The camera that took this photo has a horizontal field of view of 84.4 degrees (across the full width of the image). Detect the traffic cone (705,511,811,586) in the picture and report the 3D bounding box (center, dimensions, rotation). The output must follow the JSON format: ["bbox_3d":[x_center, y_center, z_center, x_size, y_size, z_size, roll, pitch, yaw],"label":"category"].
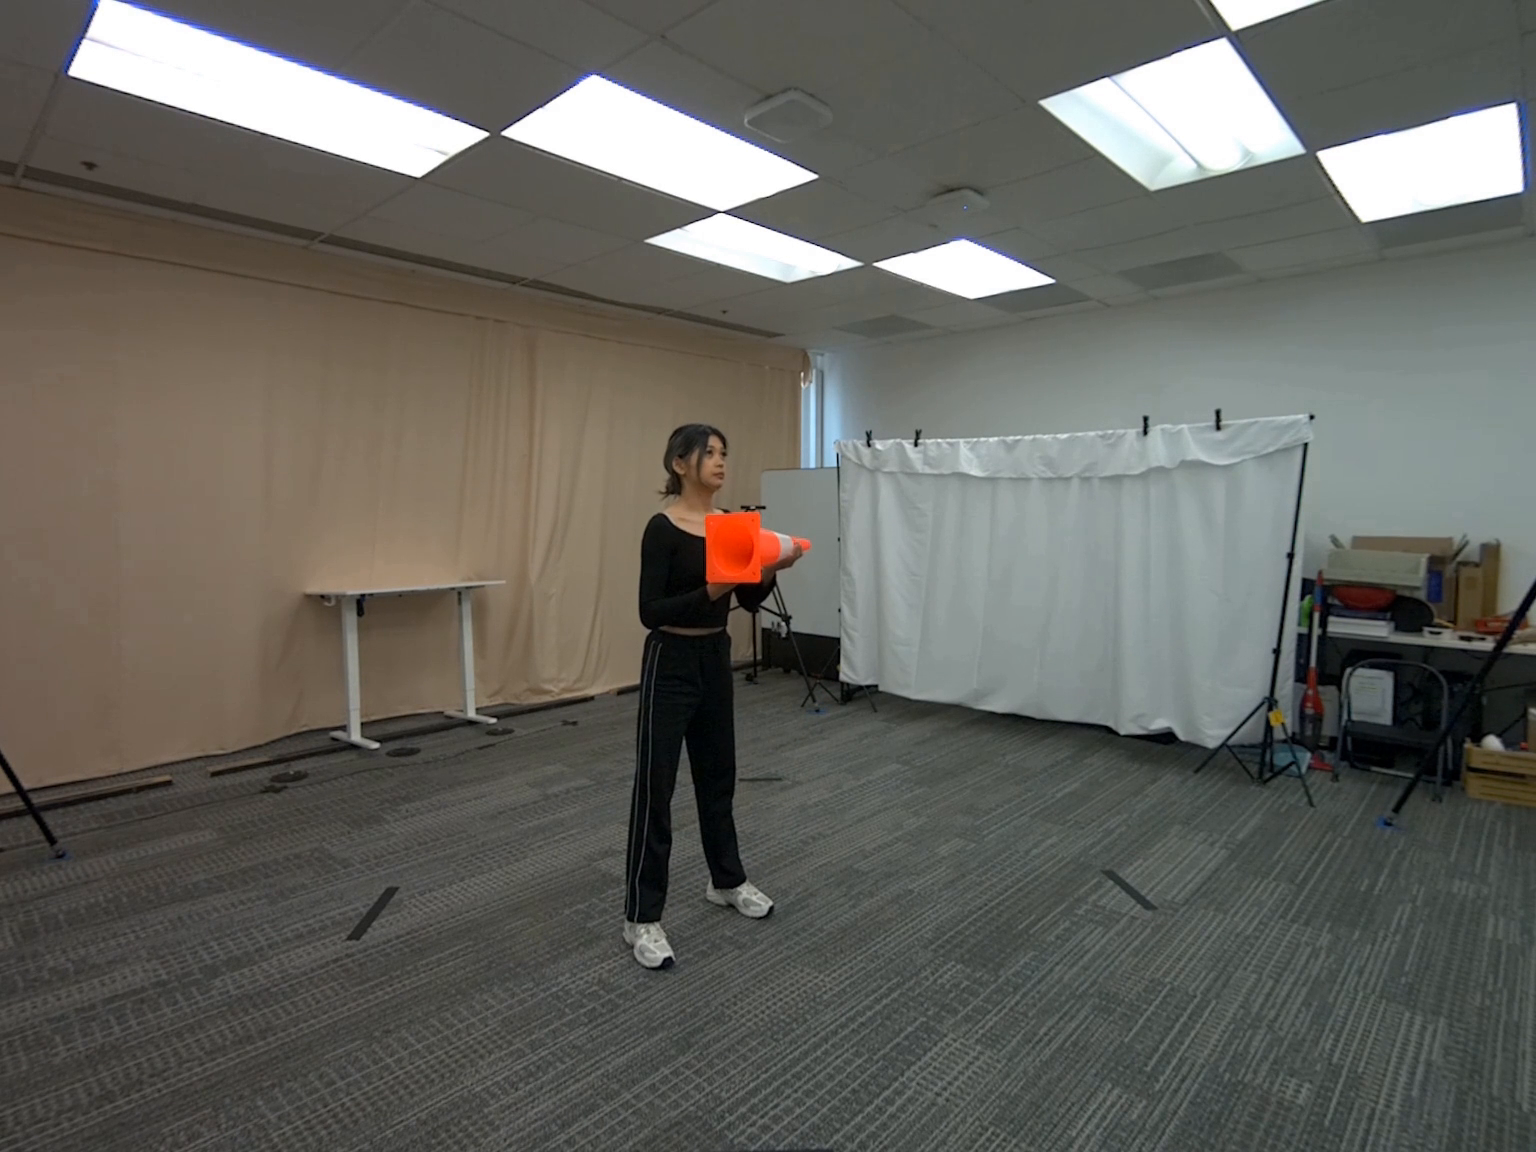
[{"bbox_3d":[0.006,-0.091,2.559,0.210,0.205,0.372,-2,1,39],"label":"traffic cone"}]
